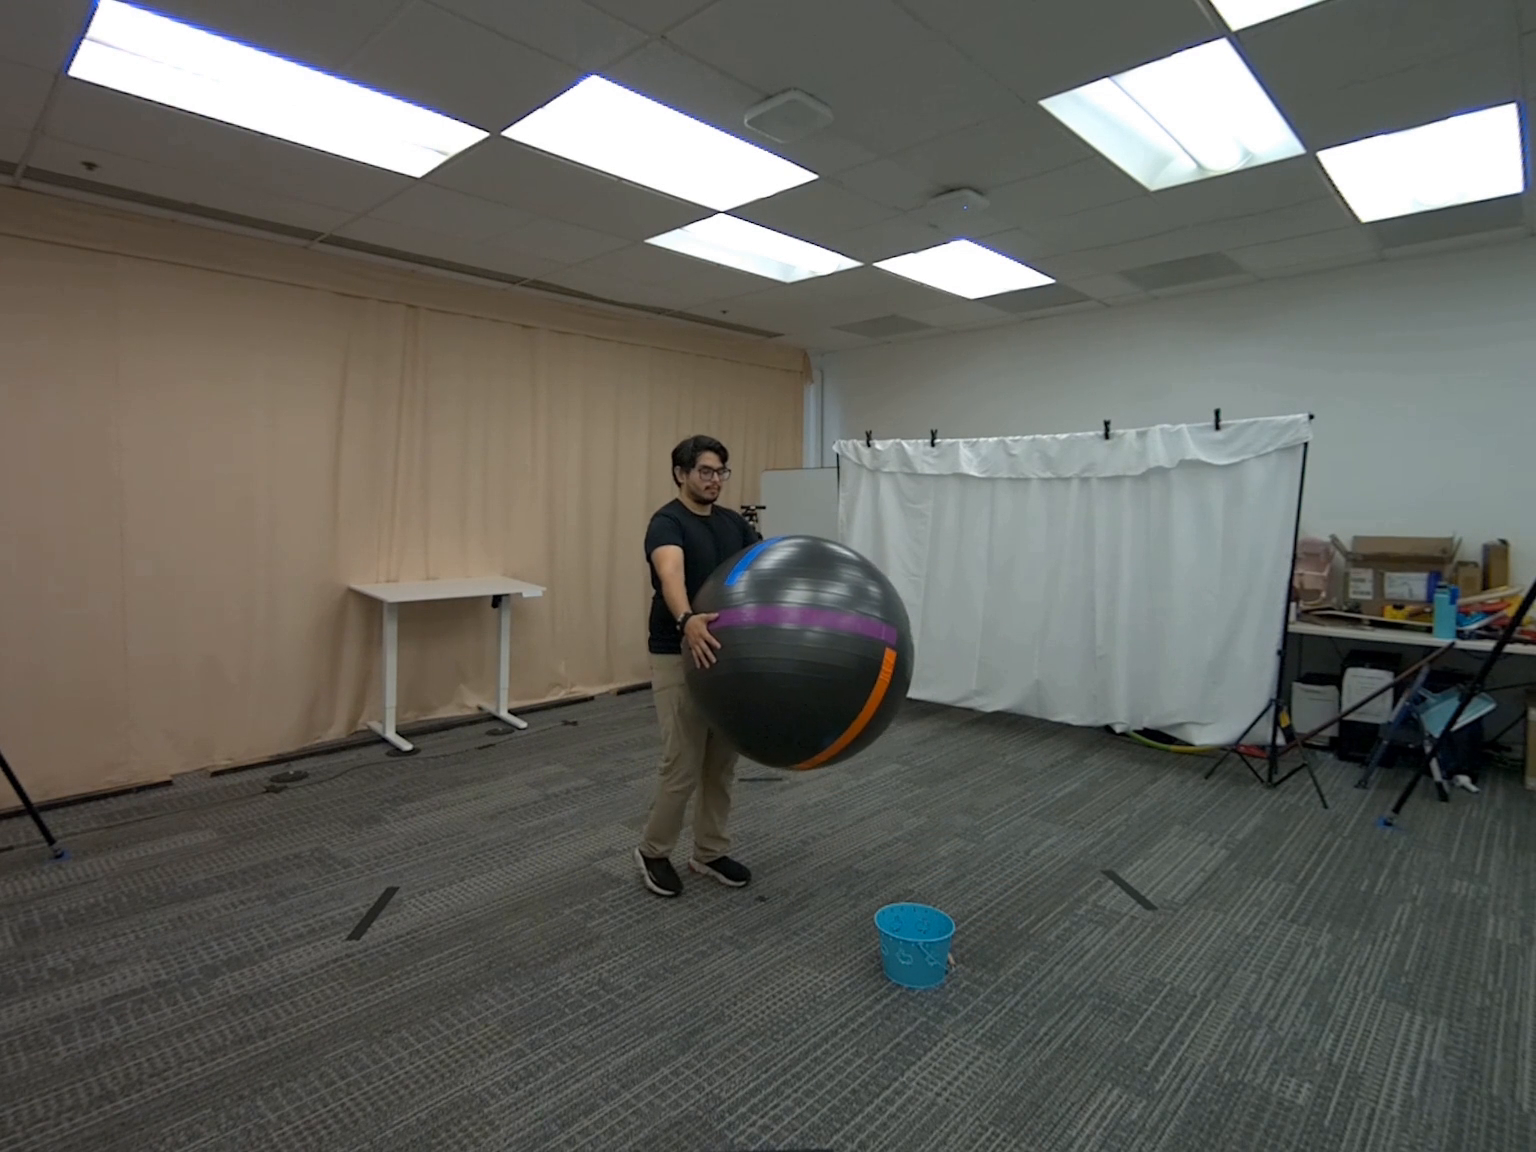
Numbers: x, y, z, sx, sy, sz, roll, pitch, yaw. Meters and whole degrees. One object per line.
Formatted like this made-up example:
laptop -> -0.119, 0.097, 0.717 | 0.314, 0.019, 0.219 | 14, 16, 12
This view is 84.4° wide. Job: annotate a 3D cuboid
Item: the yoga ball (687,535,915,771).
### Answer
yoga ball -> 0.101, 0.257, 2.757 | 0.757, 0.756, 0.761 | 0, 4, -2
